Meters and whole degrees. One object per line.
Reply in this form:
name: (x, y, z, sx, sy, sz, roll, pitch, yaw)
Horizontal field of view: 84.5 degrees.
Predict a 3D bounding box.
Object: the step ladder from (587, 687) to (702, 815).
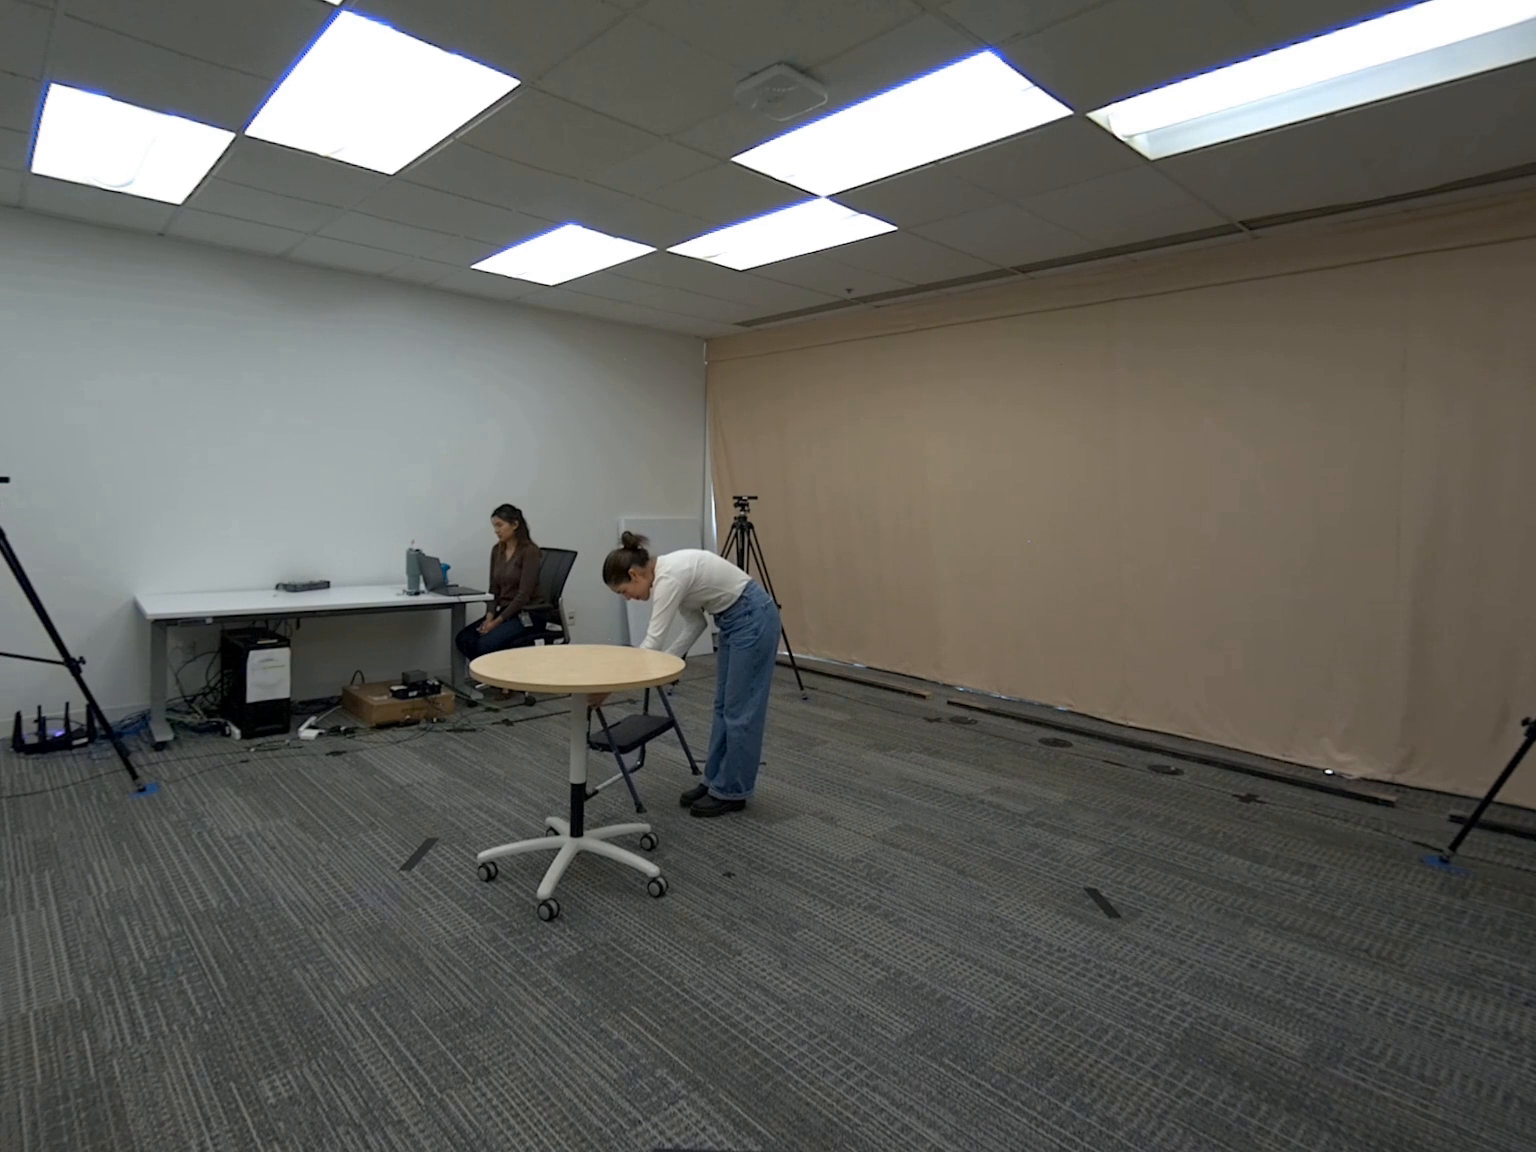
step ladder: (-0.575, 0.609, 3.570, 0.356, 0.603, 0.424, -2, 8, 31)
